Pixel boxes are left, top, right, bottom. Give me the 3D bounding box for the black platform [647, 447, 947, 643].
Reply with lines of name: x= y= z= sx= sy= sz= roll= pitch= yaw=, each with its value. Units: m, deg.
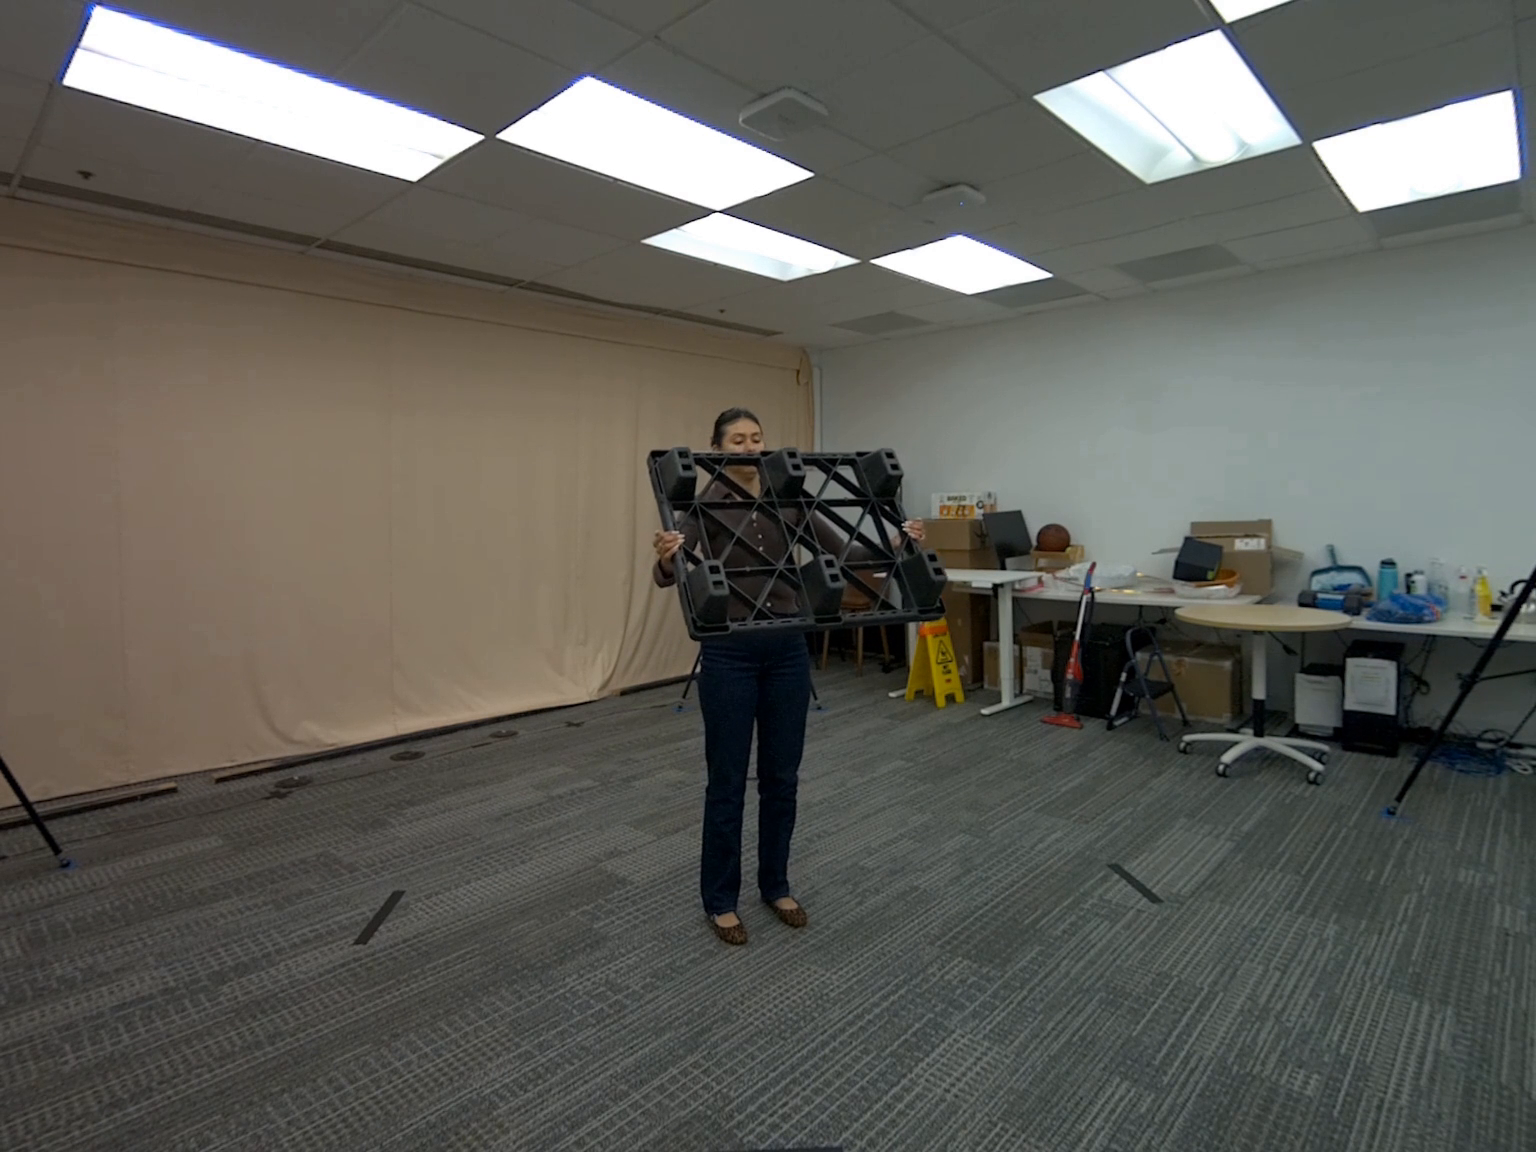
black platform: x=0.103 y=-0.130 z=2.410 sx=0.788 sy=0.618 sz=0.143 roll=-4 pitch=-30 yaw=-23
